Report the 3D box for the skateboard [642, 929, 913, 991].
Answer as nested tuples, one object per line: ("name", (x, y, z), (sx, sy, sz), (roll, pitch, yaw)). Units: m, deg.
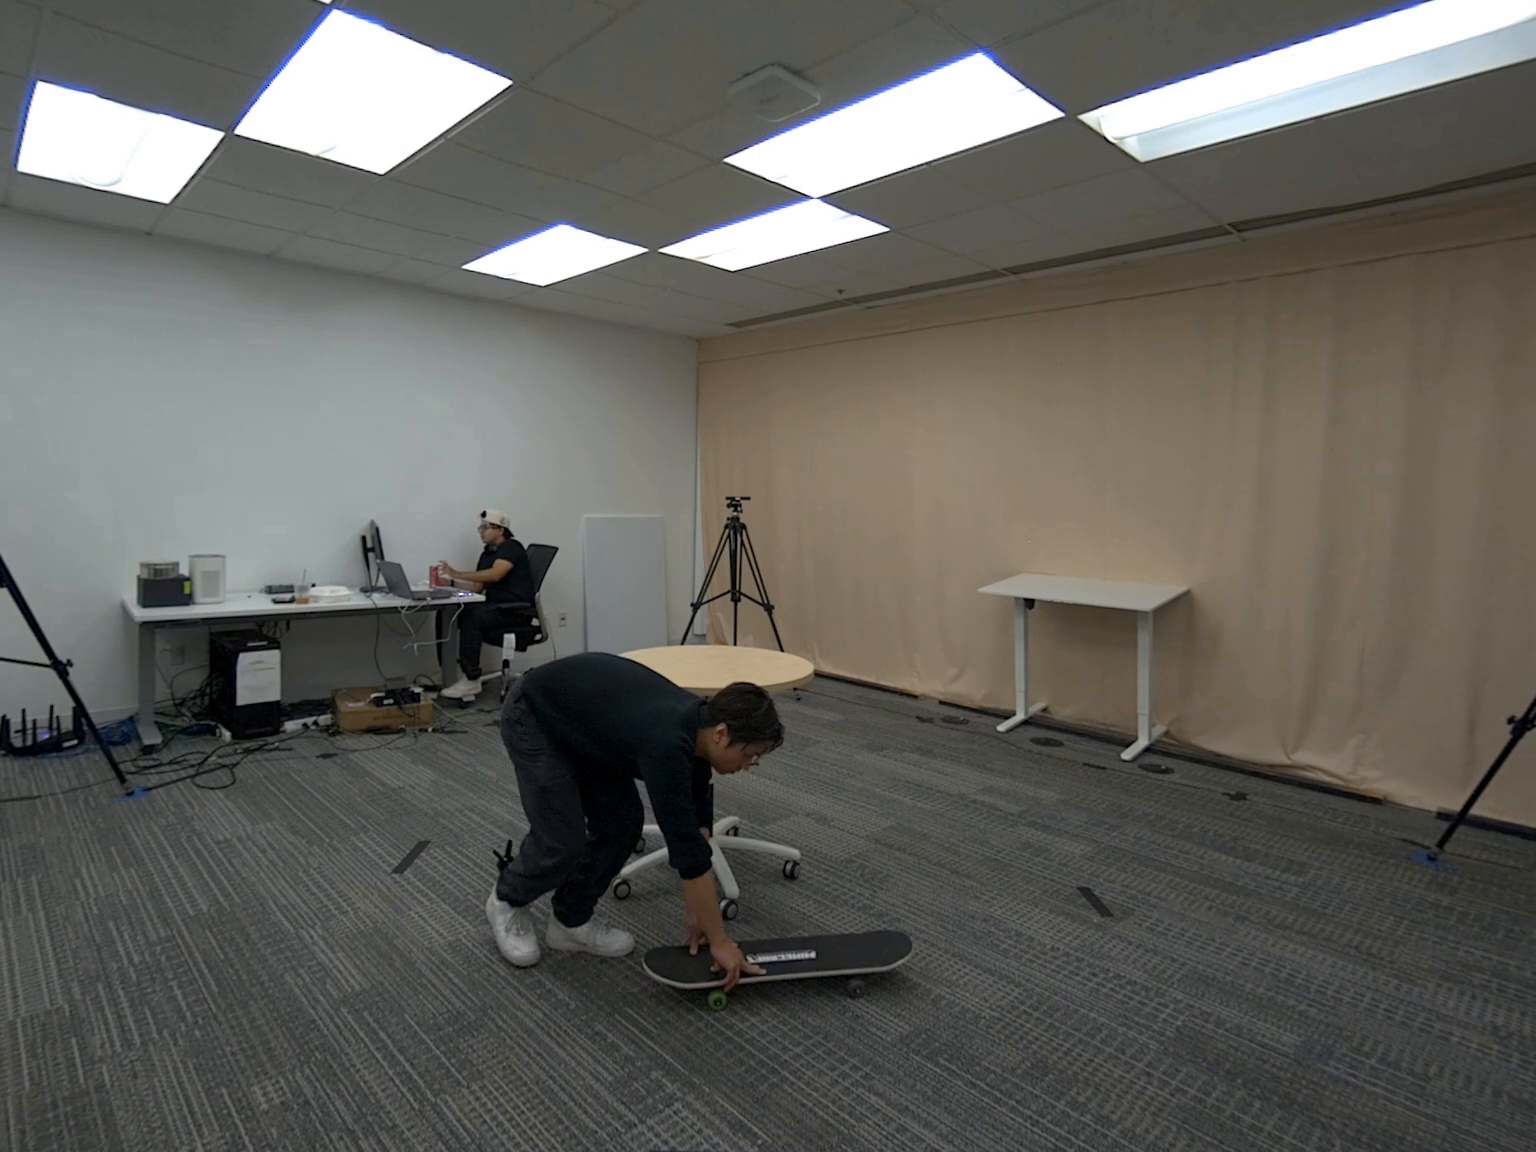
("skateboard", (0.035, 1.123, 2.398), (0.779, 0.110, 0.196), (1, 5, -10))
